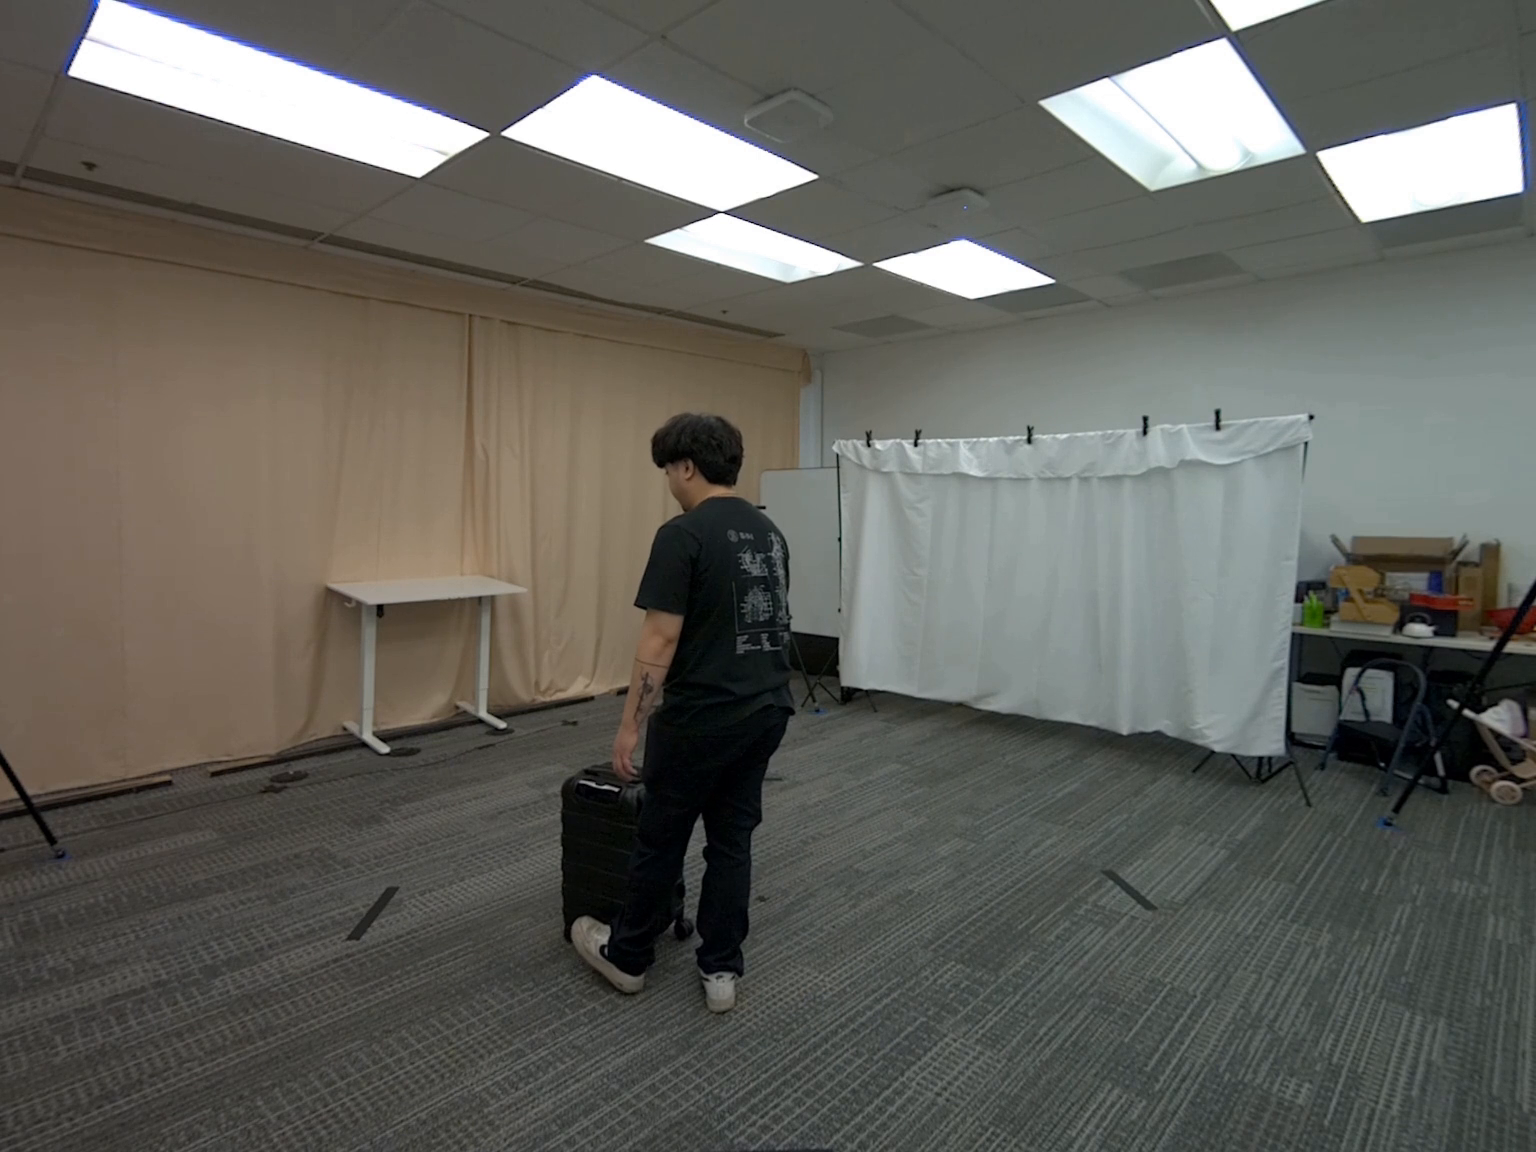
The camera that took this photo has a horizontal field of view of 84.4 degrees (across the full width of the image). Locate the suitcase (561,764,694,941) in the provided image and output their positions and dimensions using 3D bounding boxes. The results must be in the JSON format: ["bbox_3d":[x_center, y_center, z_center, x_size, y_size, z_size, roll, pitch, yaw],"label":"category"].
[{"bbox_3d":[-0.471,0.897,2.714,0.386,0.548,0.241,0,2,31],"label":"suitcase"}]
